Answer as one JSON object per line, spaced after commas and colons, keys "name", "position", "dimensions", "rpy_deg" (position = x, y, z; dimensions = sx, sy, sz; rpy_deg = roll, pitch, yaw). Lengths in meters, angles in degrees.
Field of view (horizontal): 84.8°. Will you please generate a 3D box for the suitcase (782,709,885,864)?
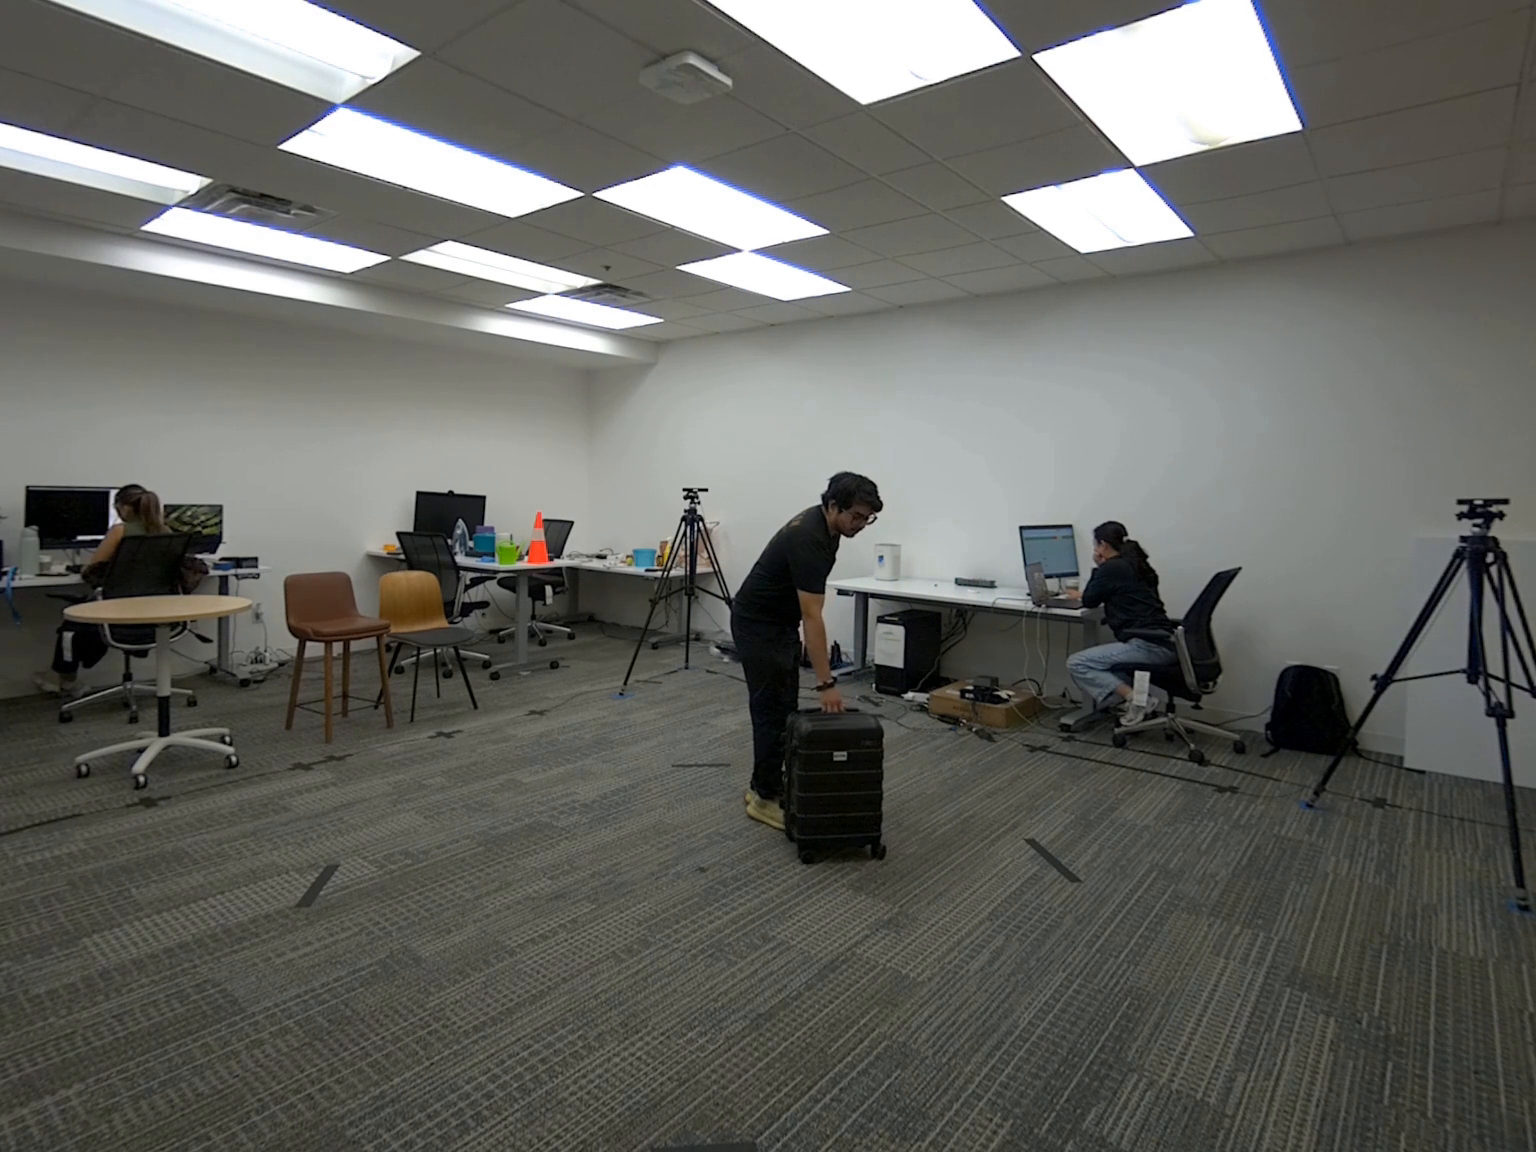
{"name": "suitcase", "position": [0.247, 0.790, 3.293], "dimensions": [0.371, 0.546, 0.252], "rpy_deg": [0, 6, -11]}
